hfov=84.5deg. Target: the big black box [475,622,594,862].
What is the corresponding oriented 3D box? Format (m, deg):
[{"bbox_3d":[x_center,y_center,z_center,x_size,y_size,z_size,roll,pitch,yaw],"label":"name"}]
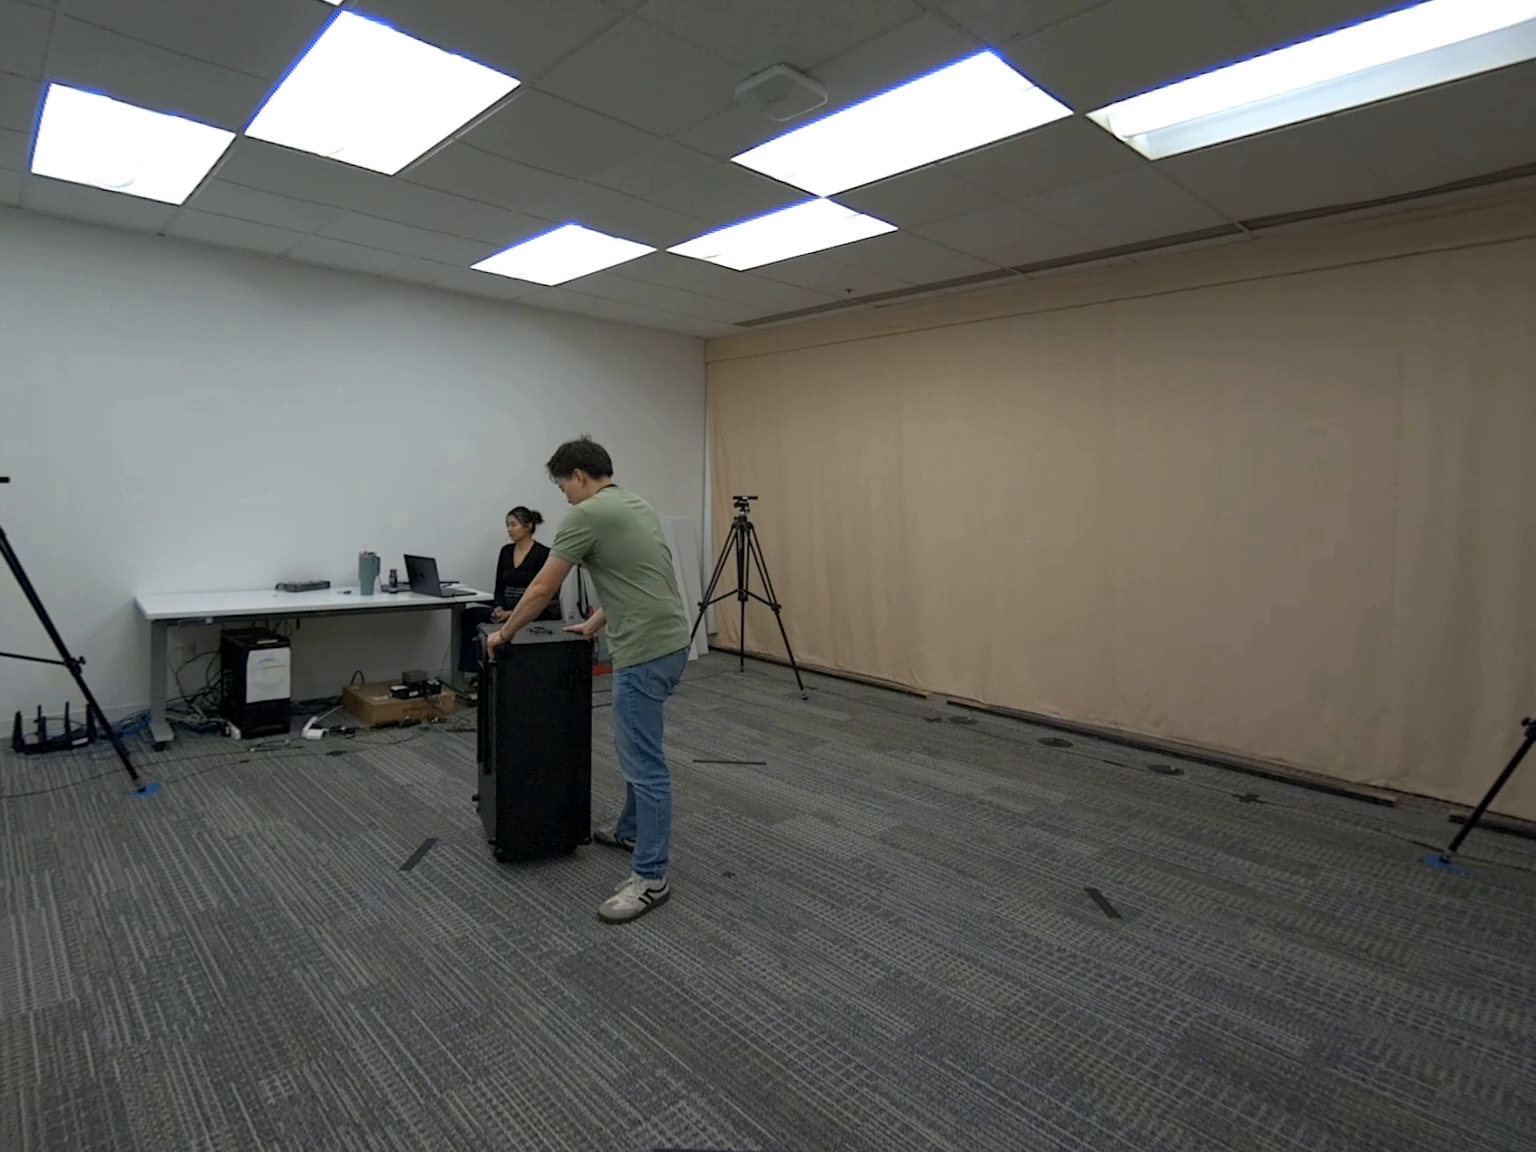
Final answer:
[{"bbox_3d":[-0.936,0.640,3.298,0.389,0.859,0.533,-1,5,-28],"label":"big black box"}]
